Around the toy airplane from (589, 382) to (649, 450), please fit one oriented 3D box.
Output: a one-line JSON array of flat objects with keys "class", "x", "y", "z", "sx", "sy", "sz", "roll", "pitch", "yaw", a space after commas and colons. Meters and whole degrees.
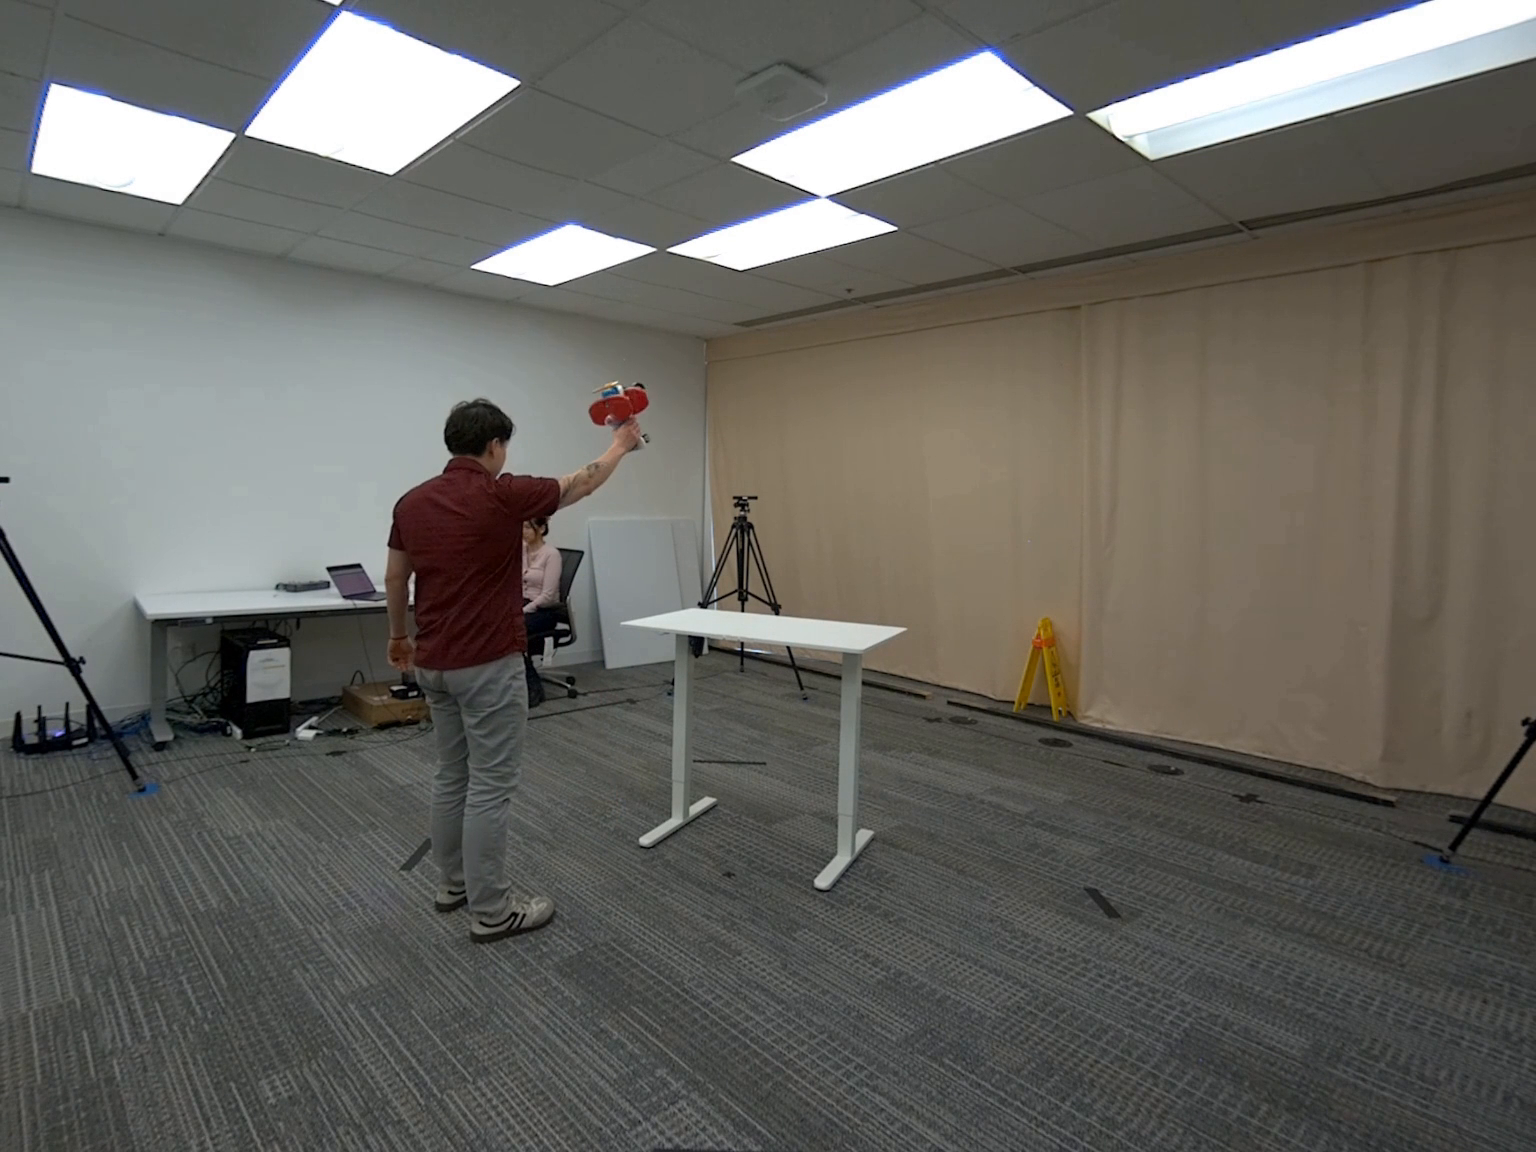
[{"class": "toy airplane", "x": -0.519, "y": -0.580, "z": 3.059, "sx": 0.154, "sy": 0.263, "sz": 0.251, "roll": -16, "pitch": -20, "yaw": -41}]
